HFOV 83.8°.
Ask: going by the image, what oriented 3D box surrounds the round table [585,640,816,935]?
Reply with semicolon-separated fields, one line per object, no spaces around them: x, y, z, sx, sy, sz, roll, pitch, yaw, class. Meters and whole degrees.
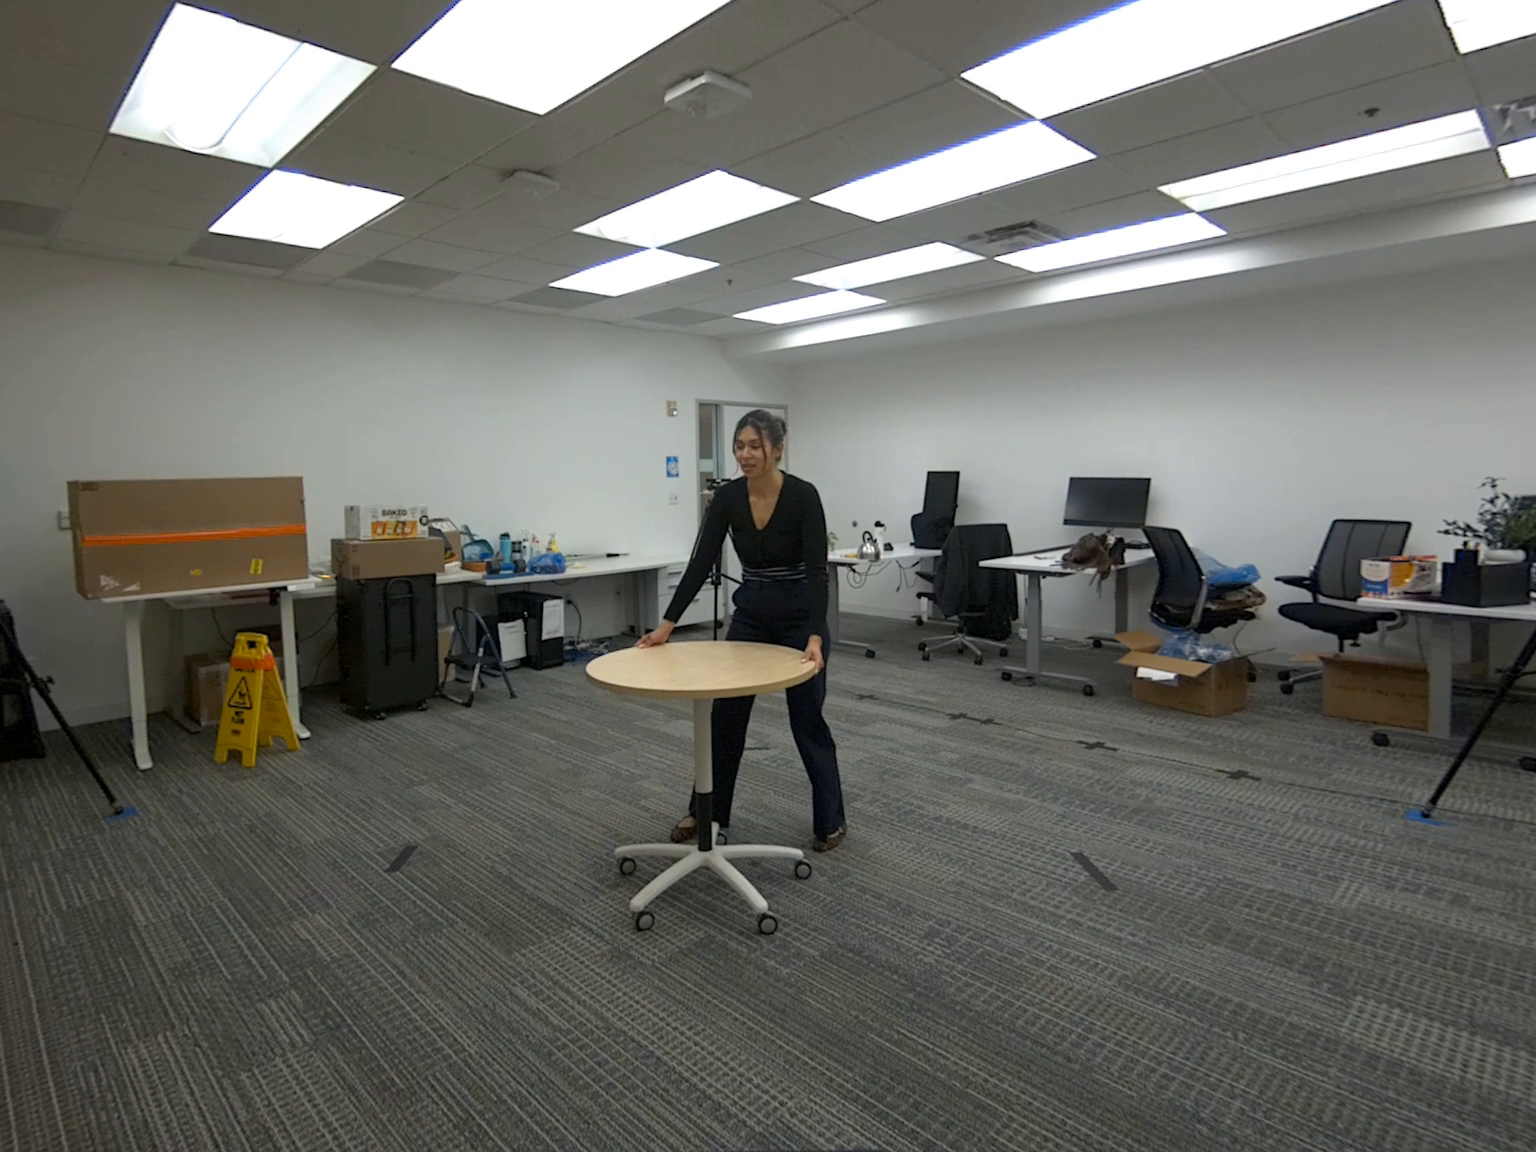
-0.206;0.683;2.893;0.763;0.791;0.768;-1;5;-2;round table
